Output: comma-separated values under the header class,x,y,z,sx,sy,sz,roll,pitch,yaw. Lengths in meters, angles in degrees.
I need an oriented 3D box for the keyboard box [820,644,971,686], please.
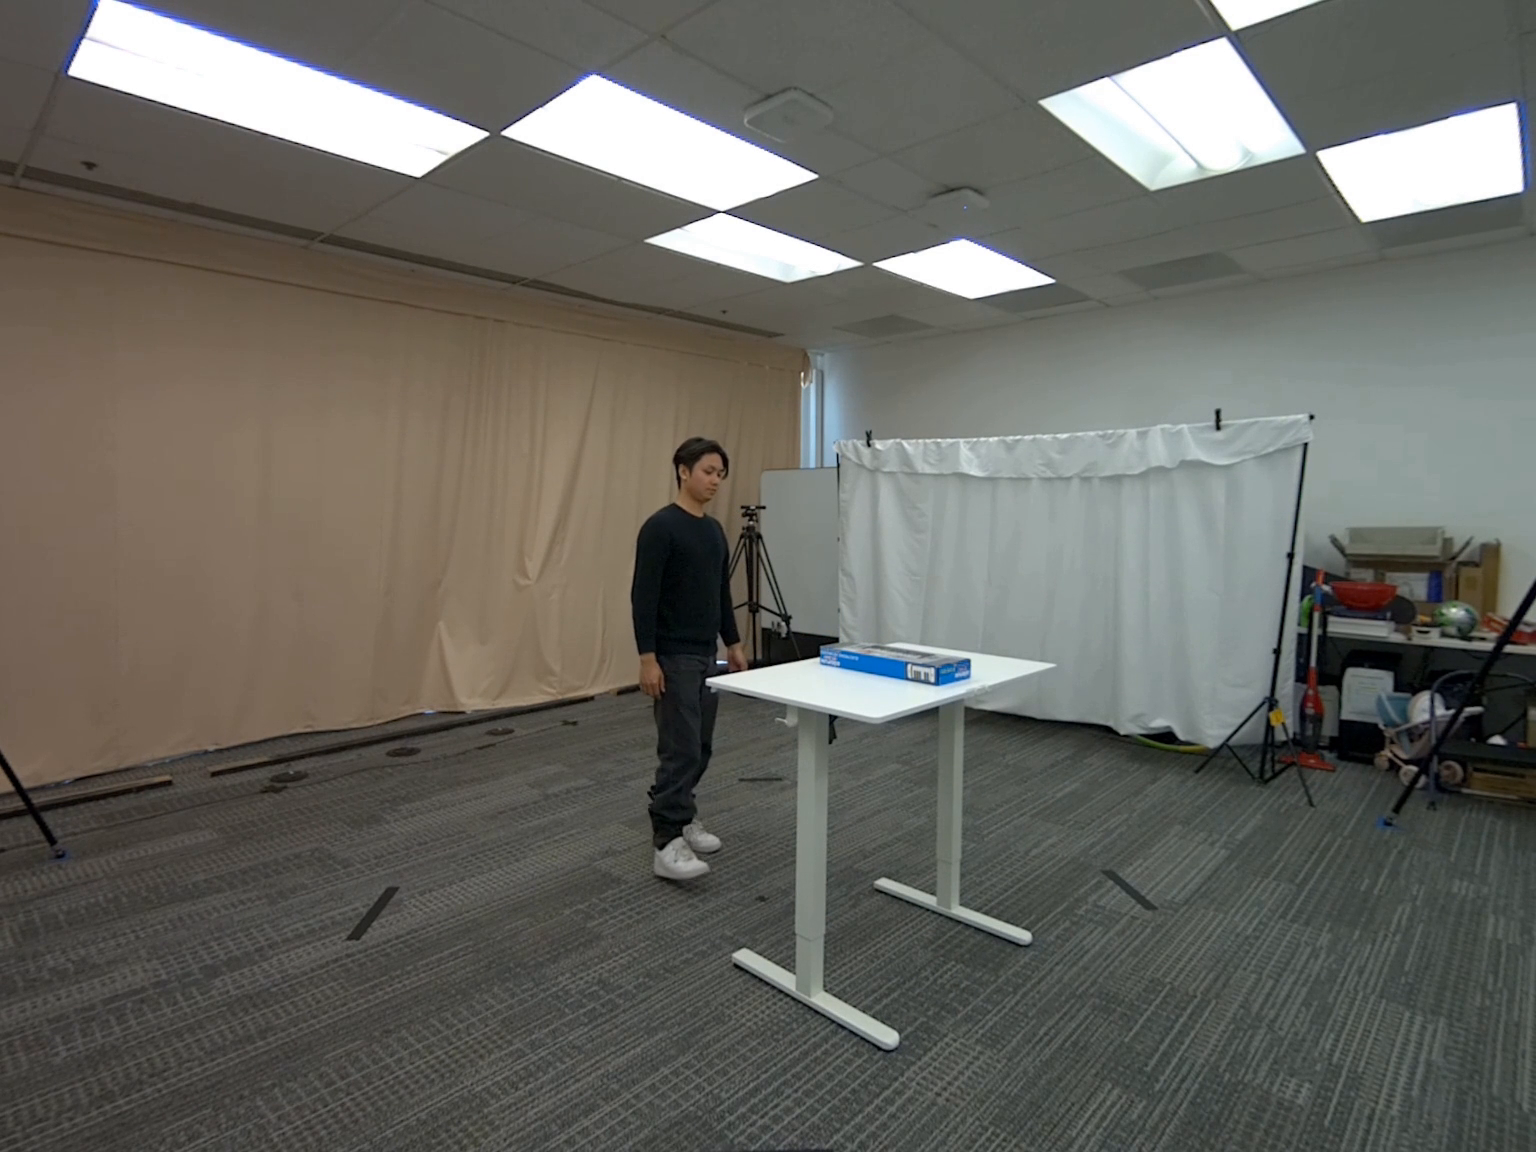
class,x,y,z,sx,sy,sz,roll,pitch,yaw
keyboard box,0.391,0.265,2.579,0.170,0.059,0.451,-5,7,-44
